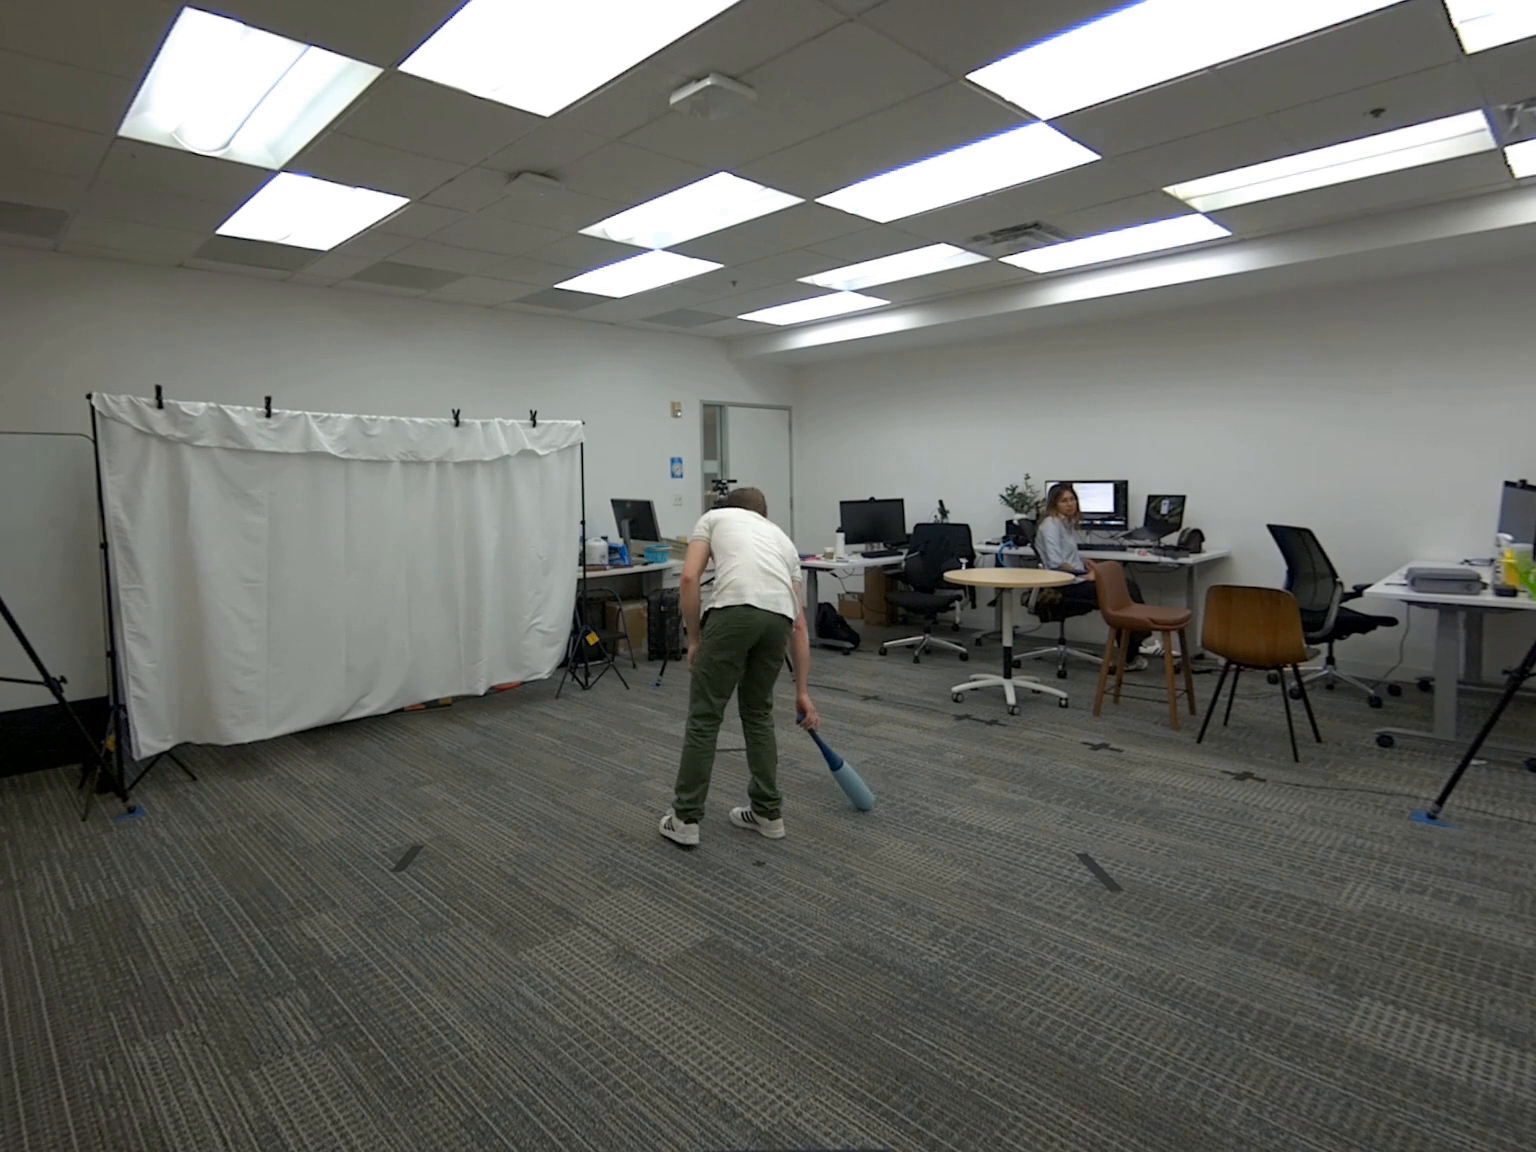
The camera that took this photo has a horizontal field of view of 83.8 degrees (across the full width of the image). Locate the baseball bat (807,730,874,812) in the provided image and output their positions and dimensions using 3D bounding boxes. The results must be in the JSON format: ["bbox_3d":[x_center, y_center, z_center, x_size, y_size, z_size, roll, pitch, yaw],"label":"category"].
[{"bbox_3d":[0.275,0.767,3.533,0.089,0.529,0.091,-31,22,13],"label":"baseball bat"}]
